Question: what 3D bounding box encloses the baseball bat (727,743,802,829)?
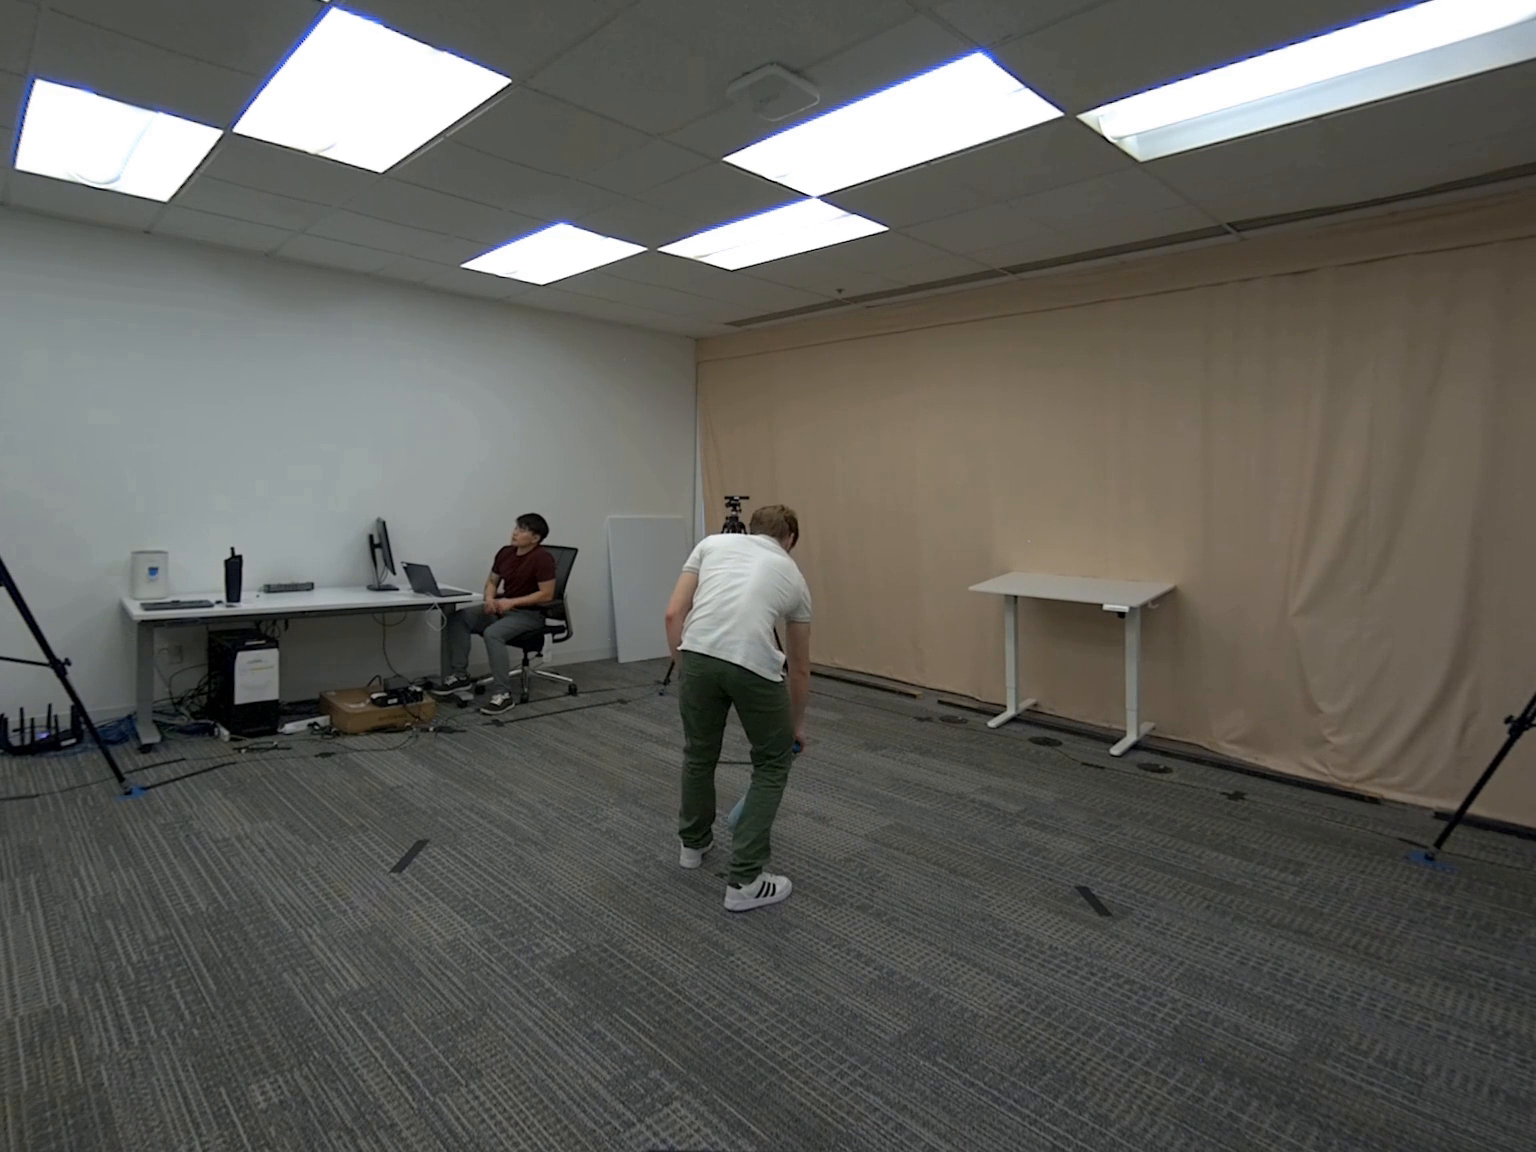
[{"bbox_3d":[-0.021,0.857,3.412,0.087,0.539,0.091,20,36,-17],"label":"baseball bat"}]
